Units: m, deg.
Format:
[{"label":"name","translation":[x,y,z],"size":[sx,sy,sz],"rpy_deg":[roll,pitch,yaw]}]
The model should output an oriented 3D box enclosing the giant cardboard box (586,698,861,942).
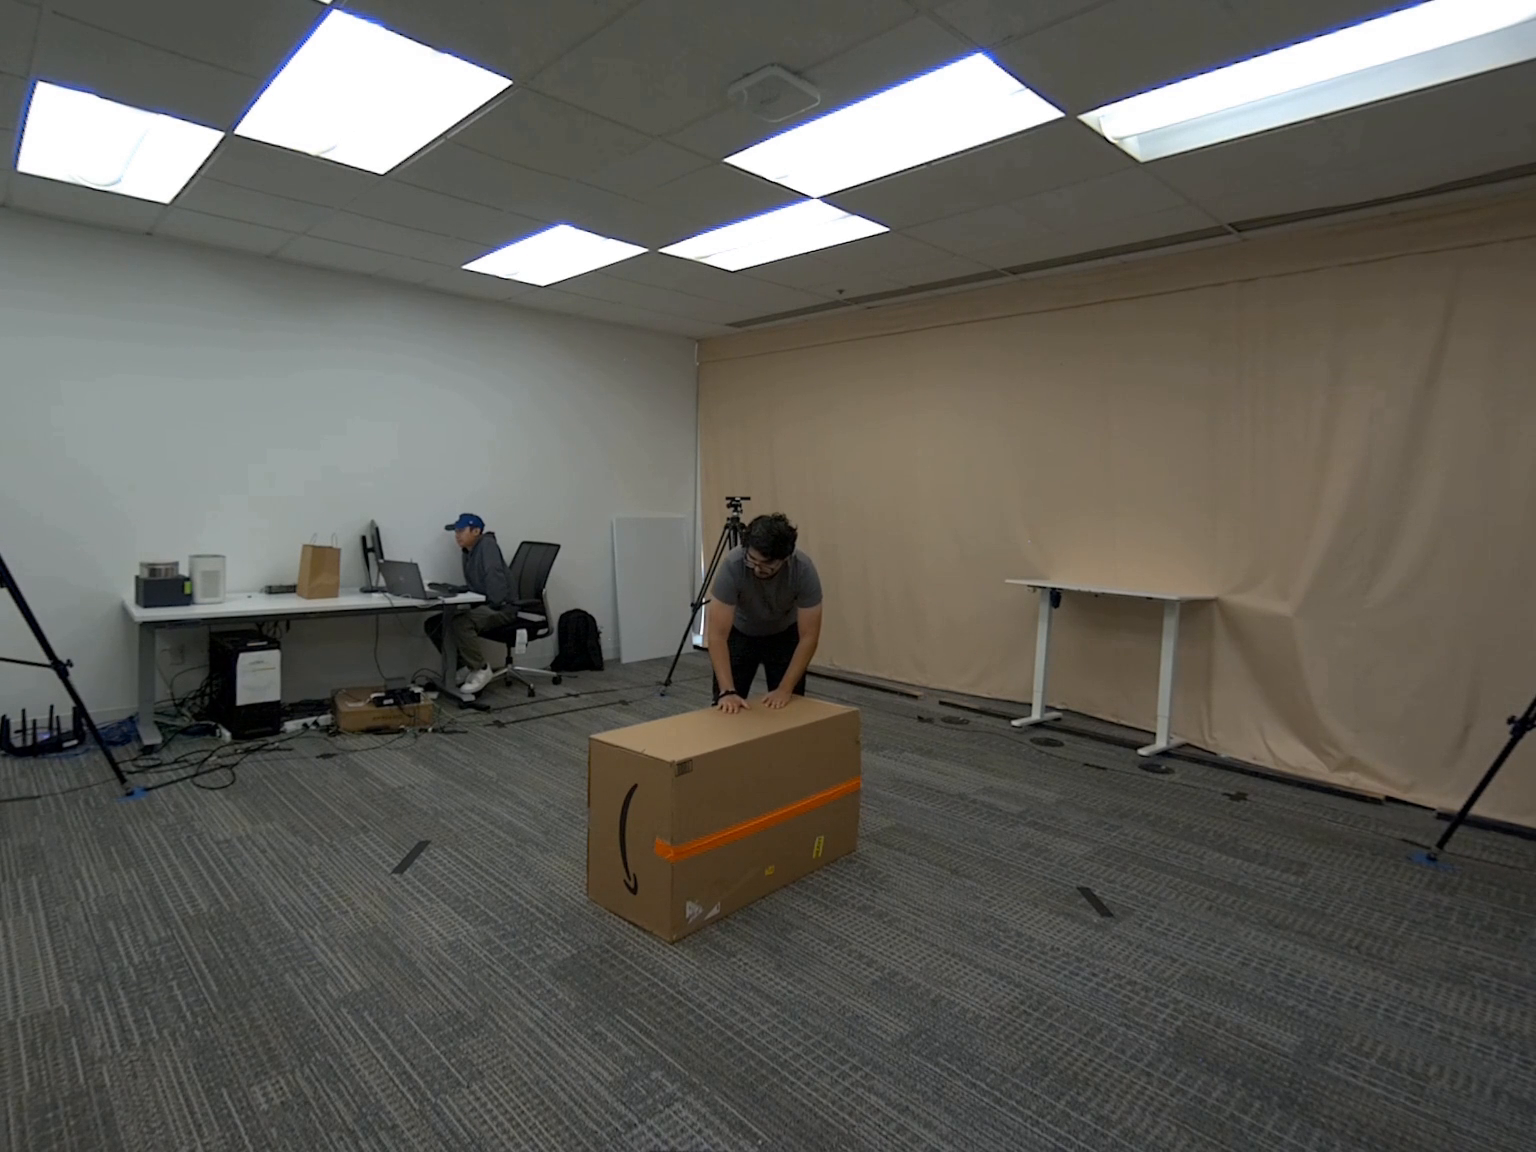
[{"label":"giant cardboard box","translation":[-0.131,0.820,3.105],"size":[0.437,0.576,1.003],"rpy_deg":[5,5,41]}]
